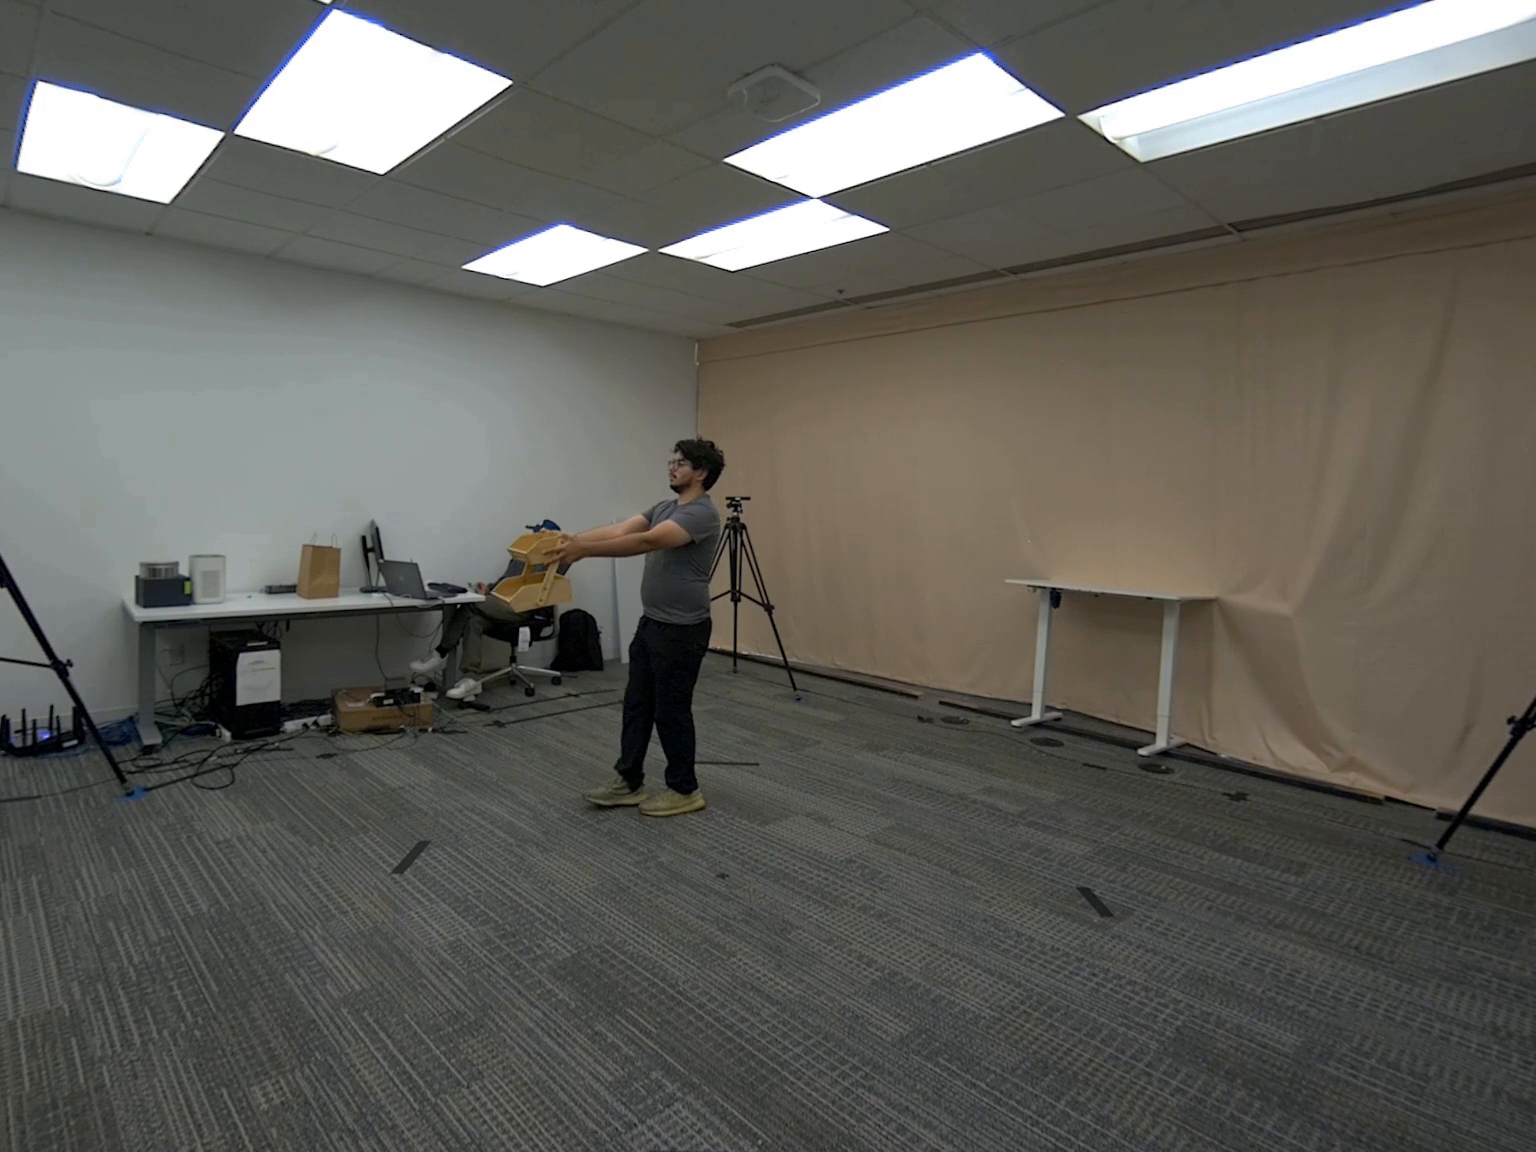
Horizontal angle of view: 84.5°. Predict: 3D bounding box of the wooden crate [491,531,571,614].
[{"bbox_3d":[-0.966,-0.030,3.395,0.297,0.271,0.332,-9,9,-27],"label":"wooden crate"}]
